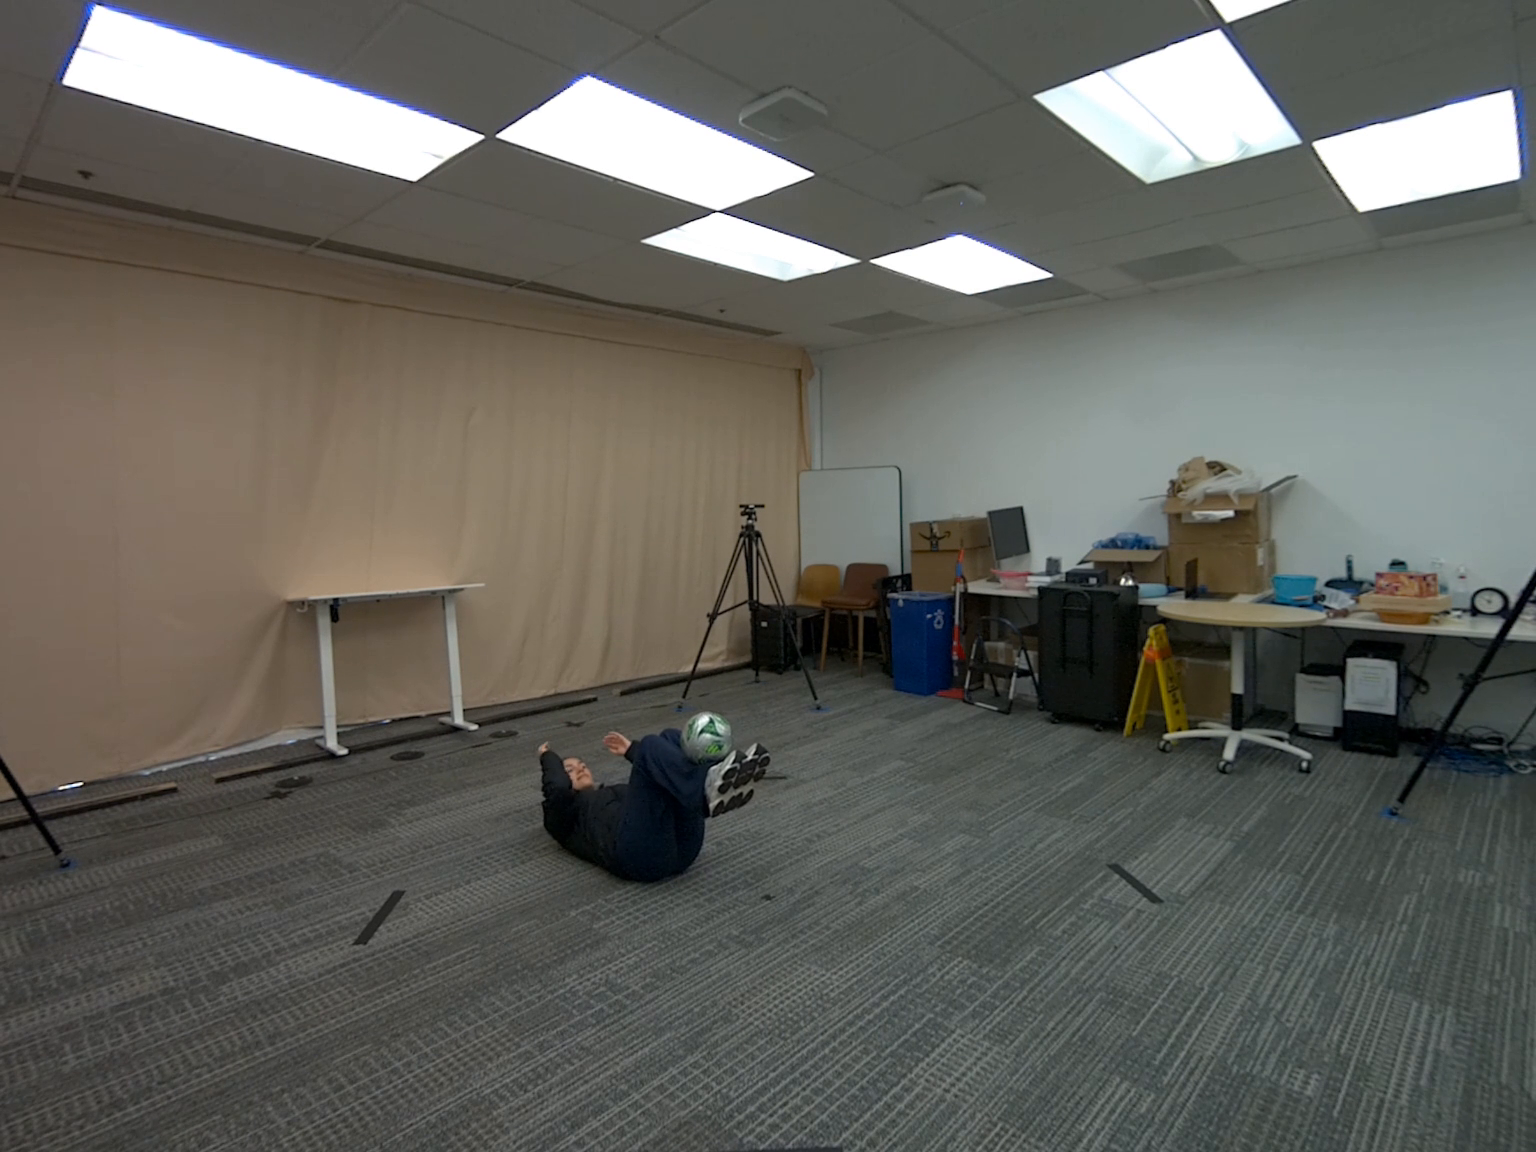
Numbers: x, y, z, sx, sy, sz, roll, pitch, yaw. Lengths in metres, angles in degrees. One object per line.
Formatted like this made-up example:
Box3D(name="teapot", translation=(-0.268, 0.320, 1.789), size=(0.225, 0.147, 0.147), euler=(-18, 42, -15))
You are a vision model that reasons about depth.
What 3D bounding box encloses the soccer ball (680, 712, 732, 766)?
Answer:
Box3D(name="soccer ball", translation=(-0.208, 0.573, 2.937), size=(0.187, 0.187, 0.188), euler=(2, 5, -2))
